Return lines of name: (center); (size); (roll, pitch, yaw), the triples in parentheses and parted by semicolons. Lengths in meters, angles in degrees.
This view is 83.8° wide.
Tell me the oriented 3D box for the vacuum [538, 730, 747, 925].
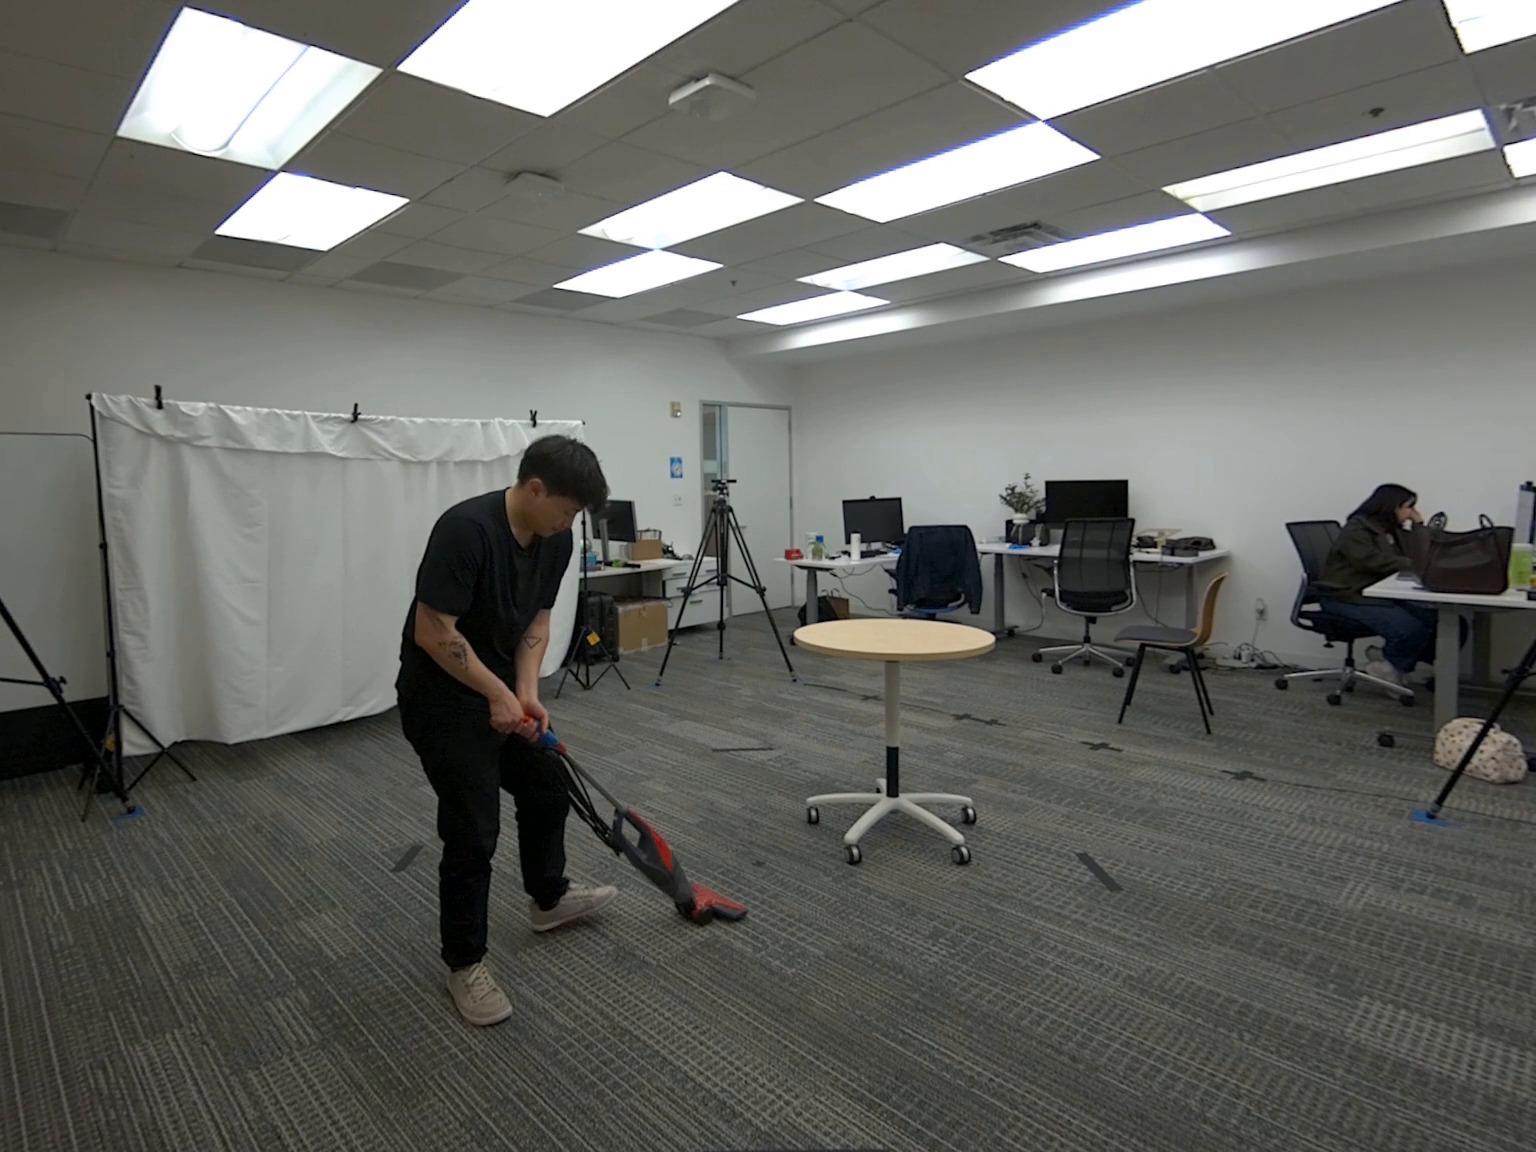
vacuum: (-0.426, 0.733, 2.521); (0.260, 1.013, 0.144); (4, 49, 45)
